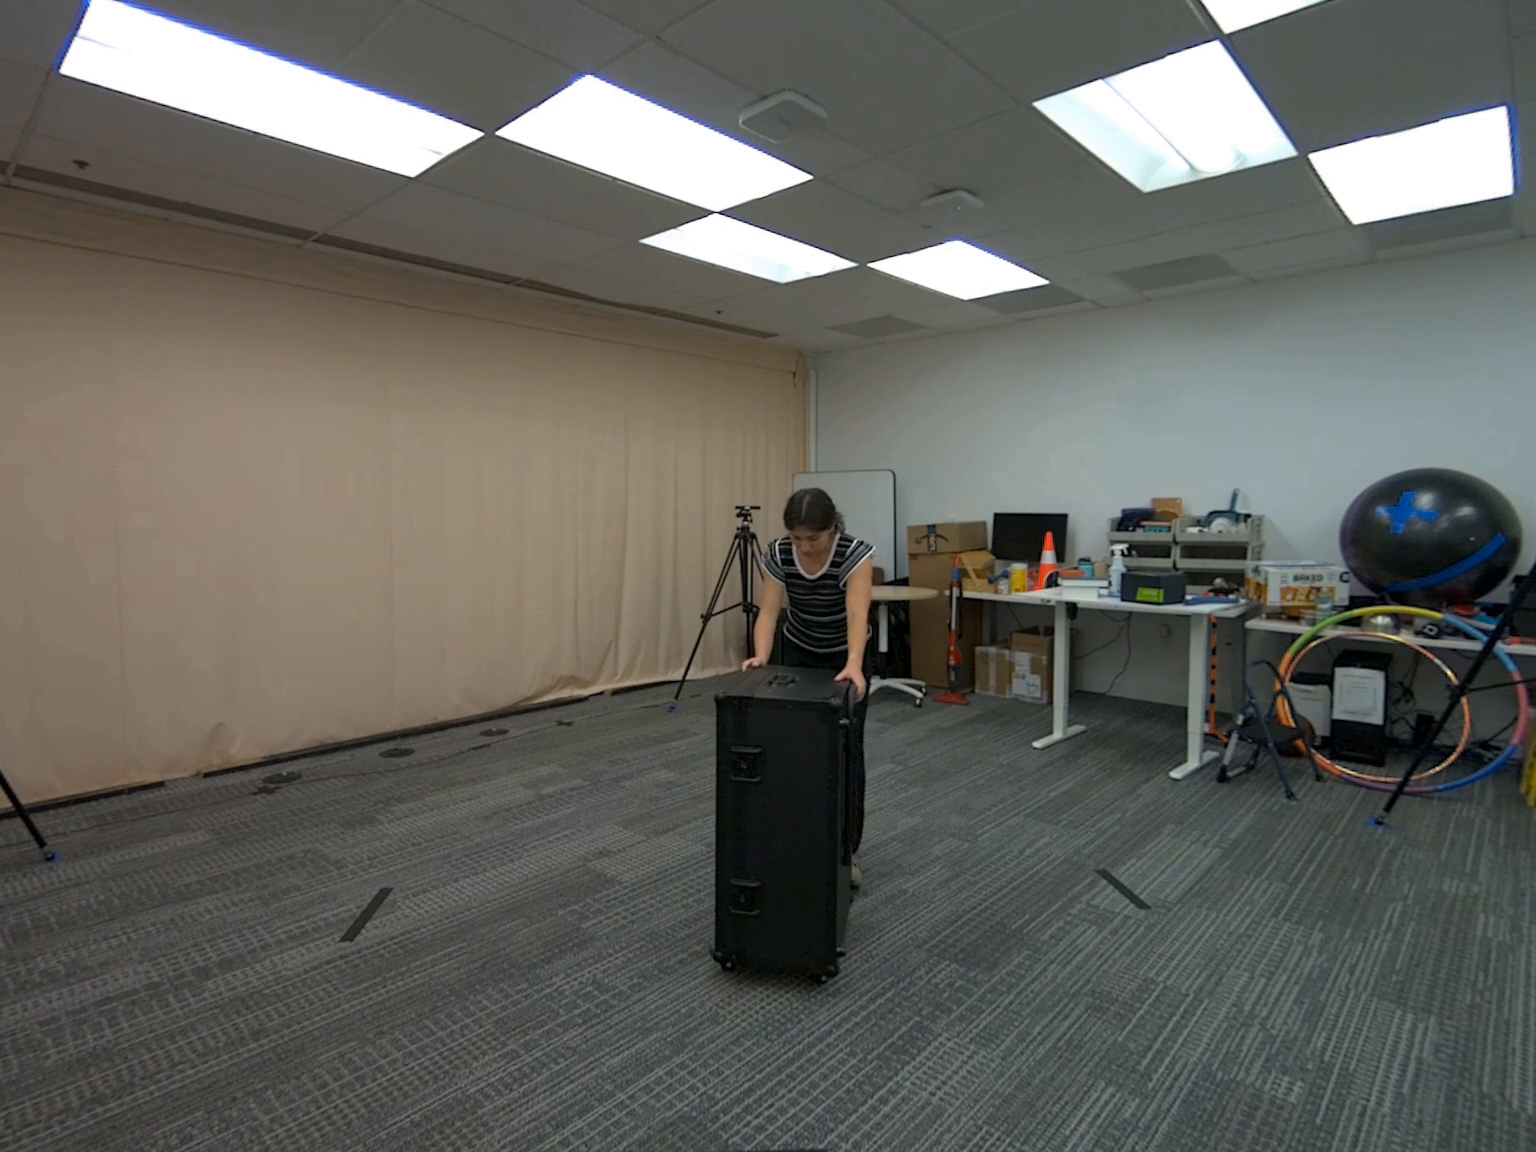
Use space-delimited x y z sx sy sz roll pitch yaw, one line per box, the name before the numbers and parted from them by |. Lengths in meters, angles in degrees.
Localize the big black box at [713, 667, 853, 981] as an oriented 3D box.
big black box | 0.072 0.760 2.615 0.402 0.860 0.515 2 3 12
